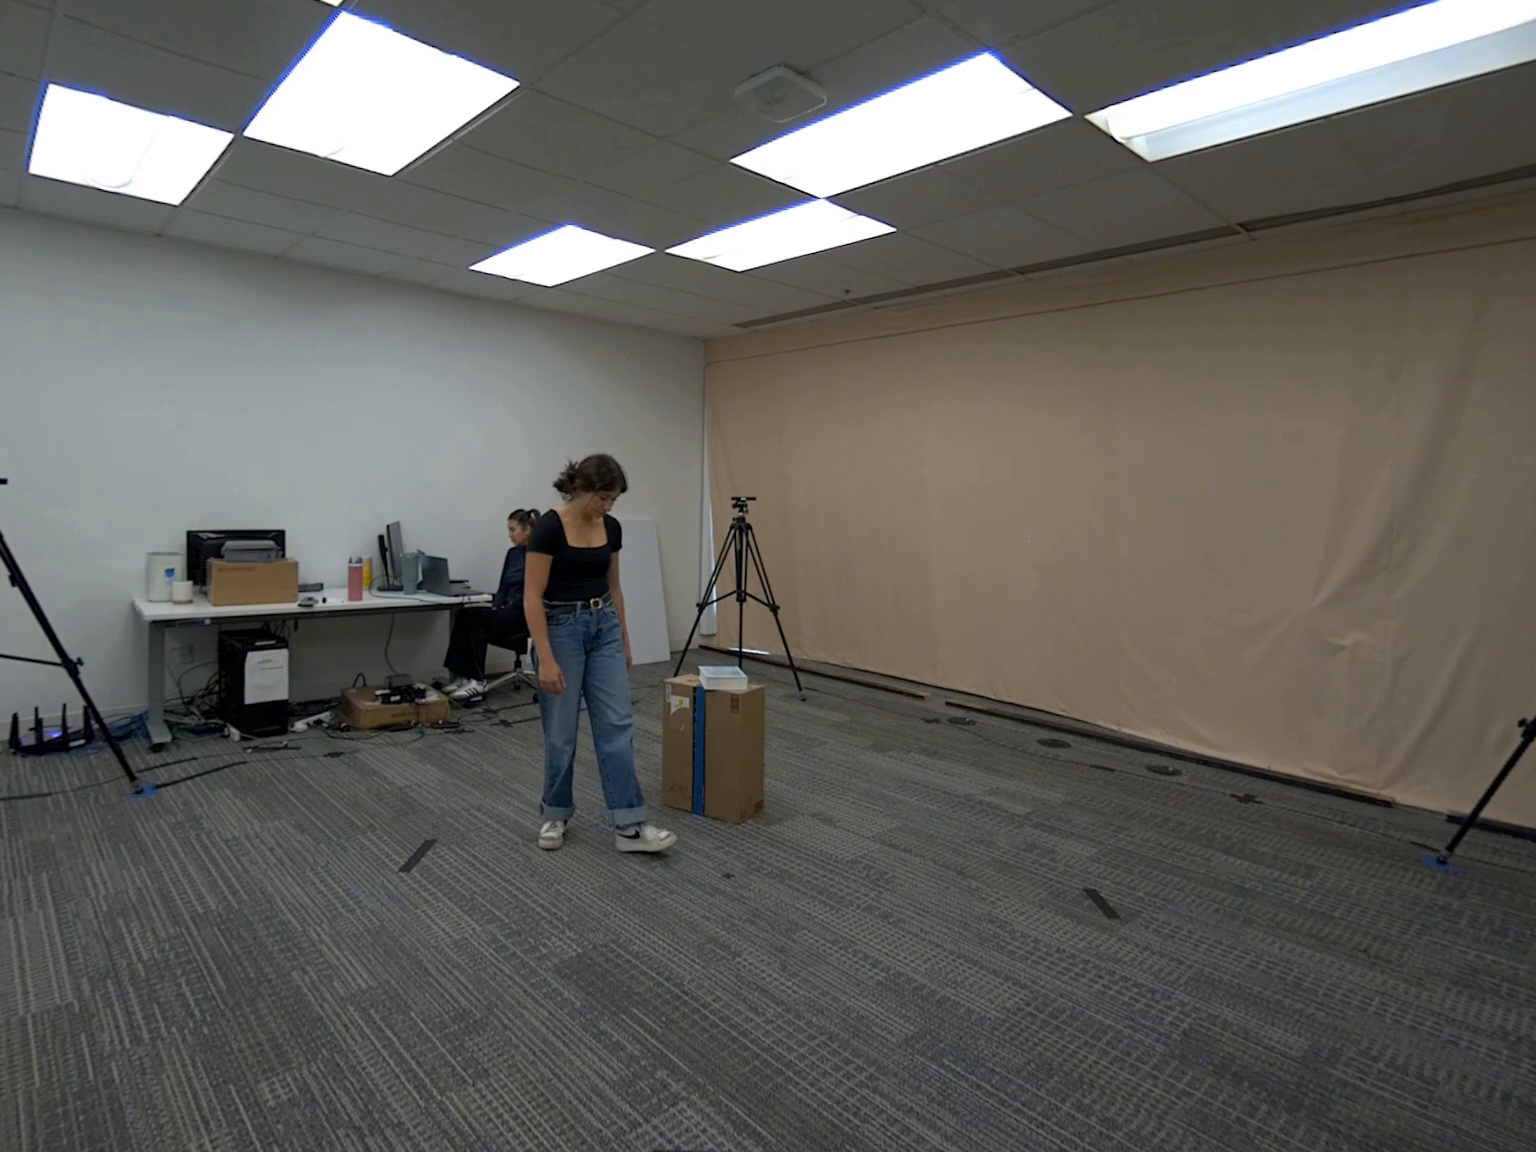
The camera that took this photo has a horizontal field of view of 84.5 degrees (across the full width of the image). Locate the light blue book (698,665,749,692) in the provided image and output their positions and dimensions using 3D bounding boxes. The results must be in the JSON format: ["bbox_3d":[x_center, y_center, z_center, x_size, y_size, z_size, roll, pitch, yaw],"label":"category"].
[{"bbox_3d":[-0.208,0.456,3.776,0.190,0.059,0.264,1,5,-11],"label":"light blue book"}]
